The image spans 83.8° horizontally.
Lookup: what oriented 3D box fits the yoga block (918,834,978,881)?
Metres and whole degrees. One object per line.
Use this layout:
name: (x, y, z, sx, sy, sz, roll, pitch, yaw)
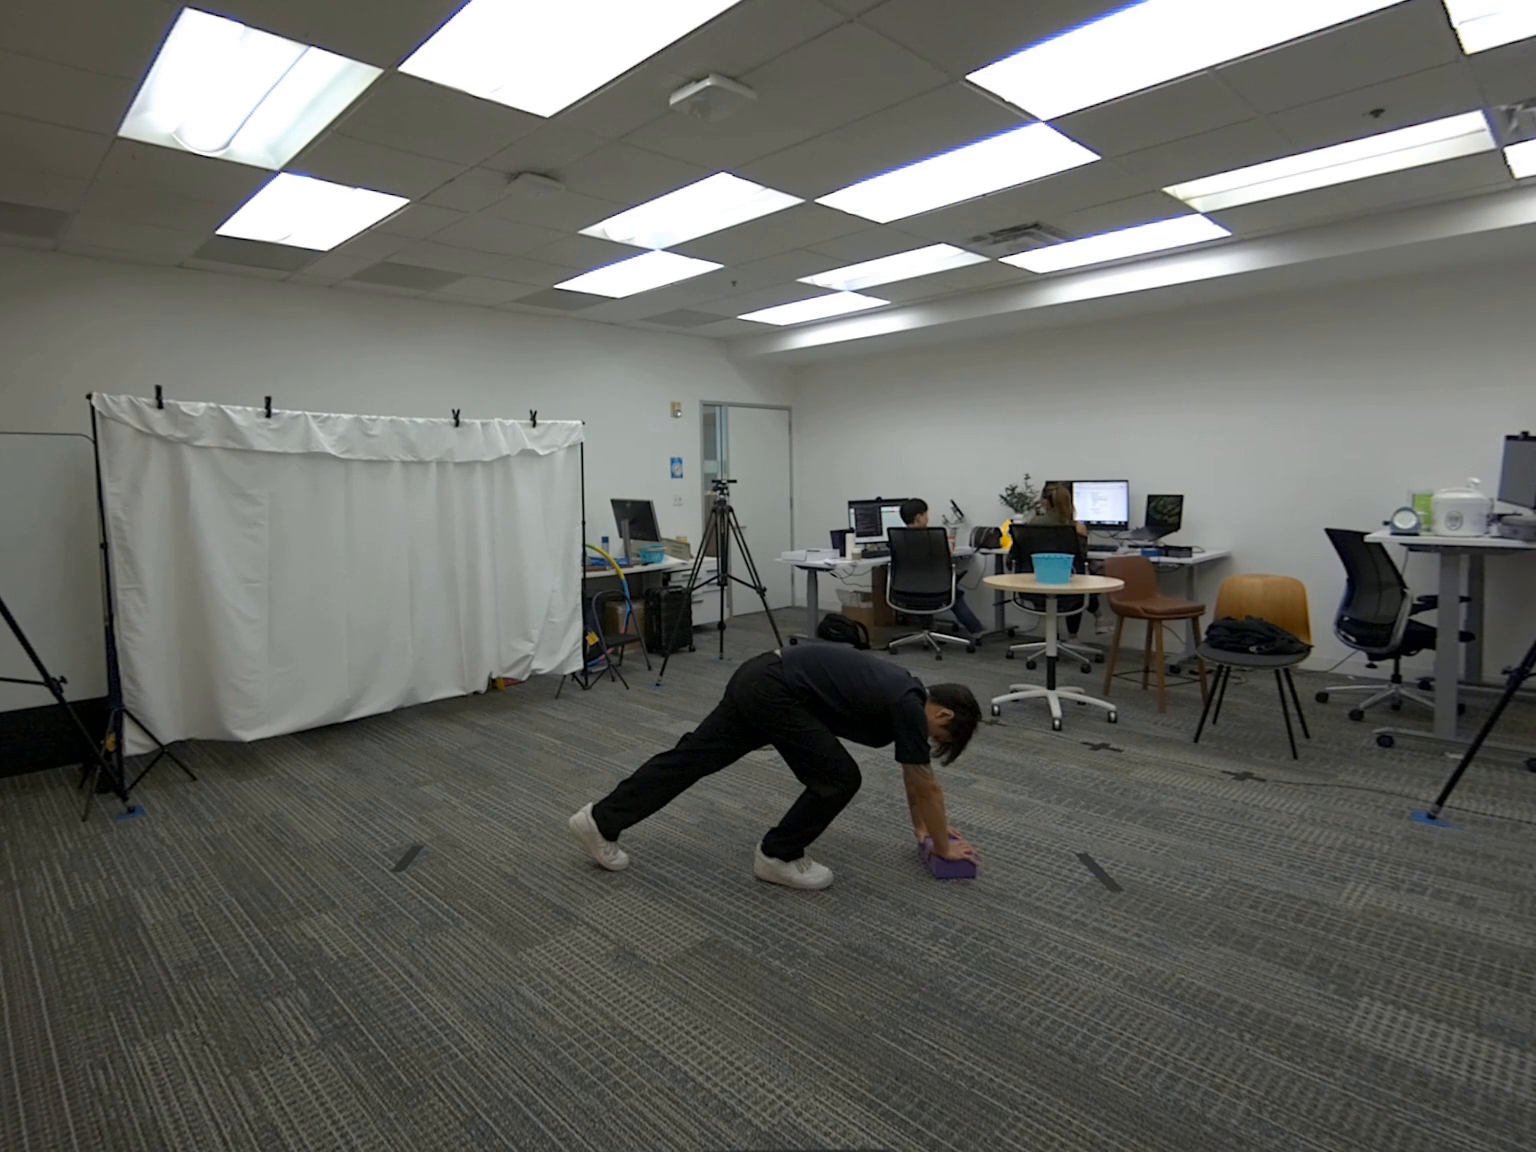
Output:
yoga block: (0.636, 0.993, 3.067, 0.148, 0.076, 0.231, 1, 4, -6)
